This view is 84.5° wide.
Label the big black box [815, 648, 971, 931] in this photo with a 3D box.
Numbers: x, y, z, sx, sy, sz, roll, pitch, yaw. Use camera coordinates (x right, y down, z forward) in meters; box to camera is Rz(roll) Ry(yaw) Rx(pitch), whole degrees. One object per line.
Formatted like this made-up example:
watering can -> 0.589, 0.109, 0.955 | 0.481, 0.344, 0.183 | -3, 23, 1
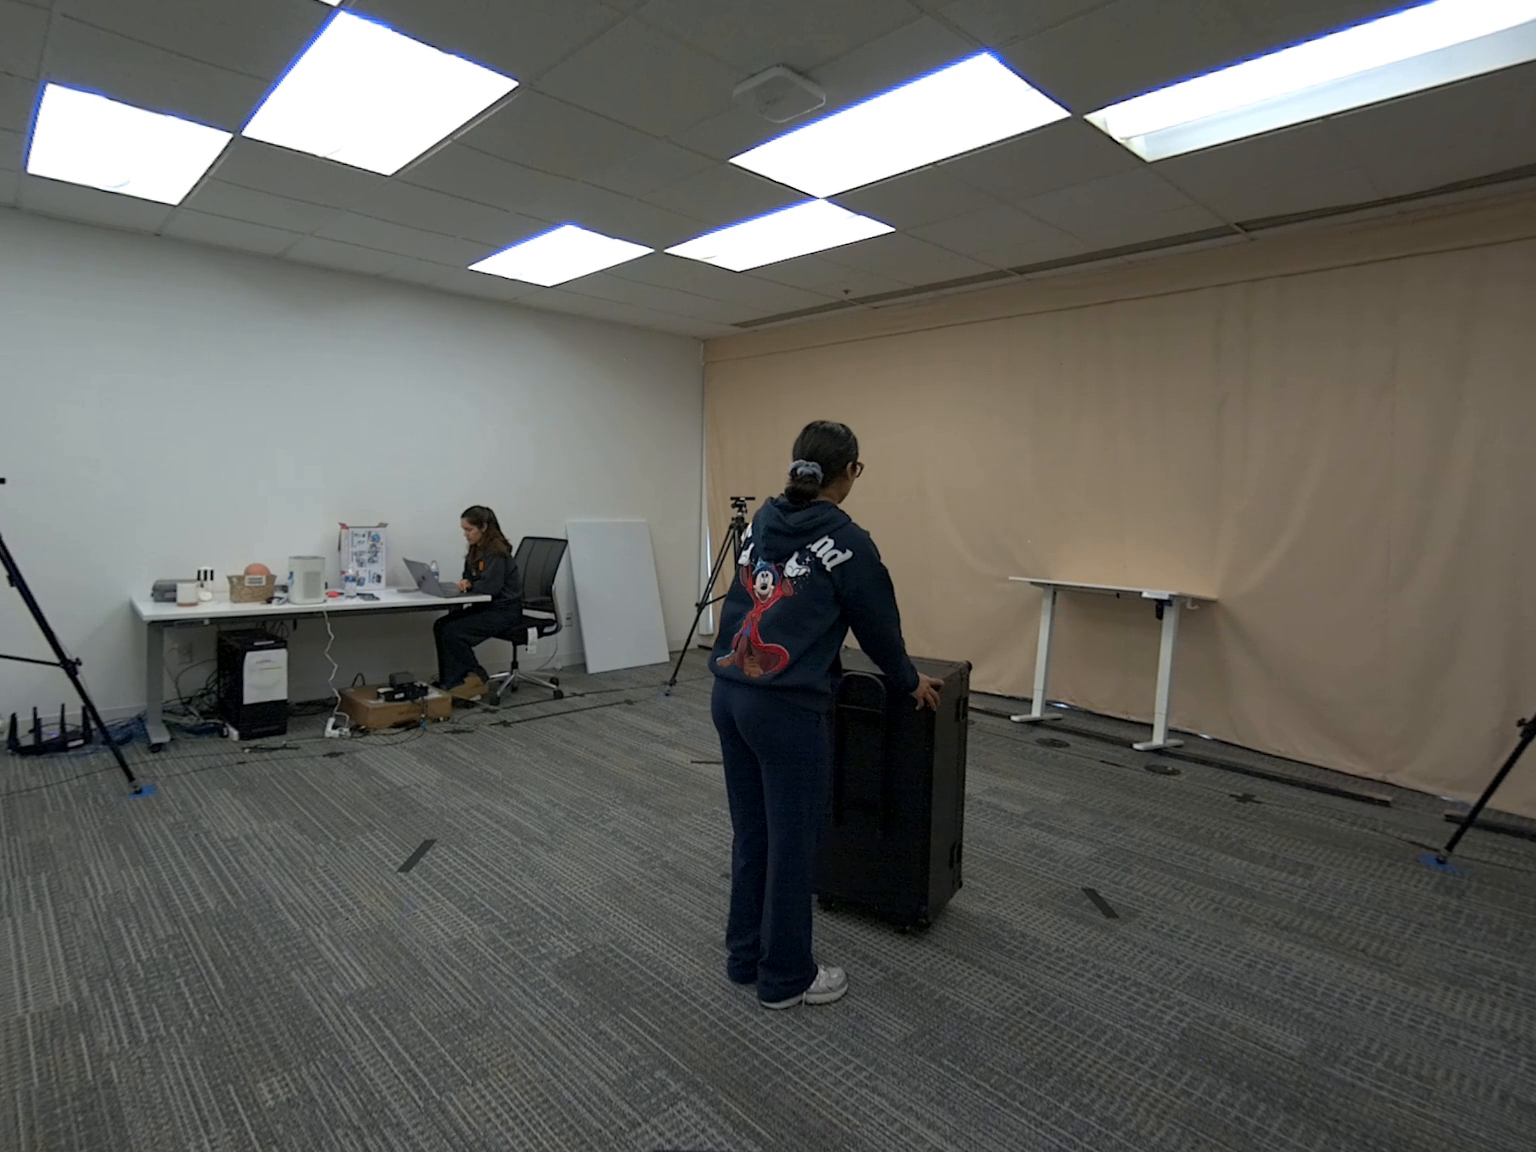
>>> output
big black box -> 0.381, 0.718, 2.855 | 0.533, 0.858, 0.389 | 4, 6, 32
